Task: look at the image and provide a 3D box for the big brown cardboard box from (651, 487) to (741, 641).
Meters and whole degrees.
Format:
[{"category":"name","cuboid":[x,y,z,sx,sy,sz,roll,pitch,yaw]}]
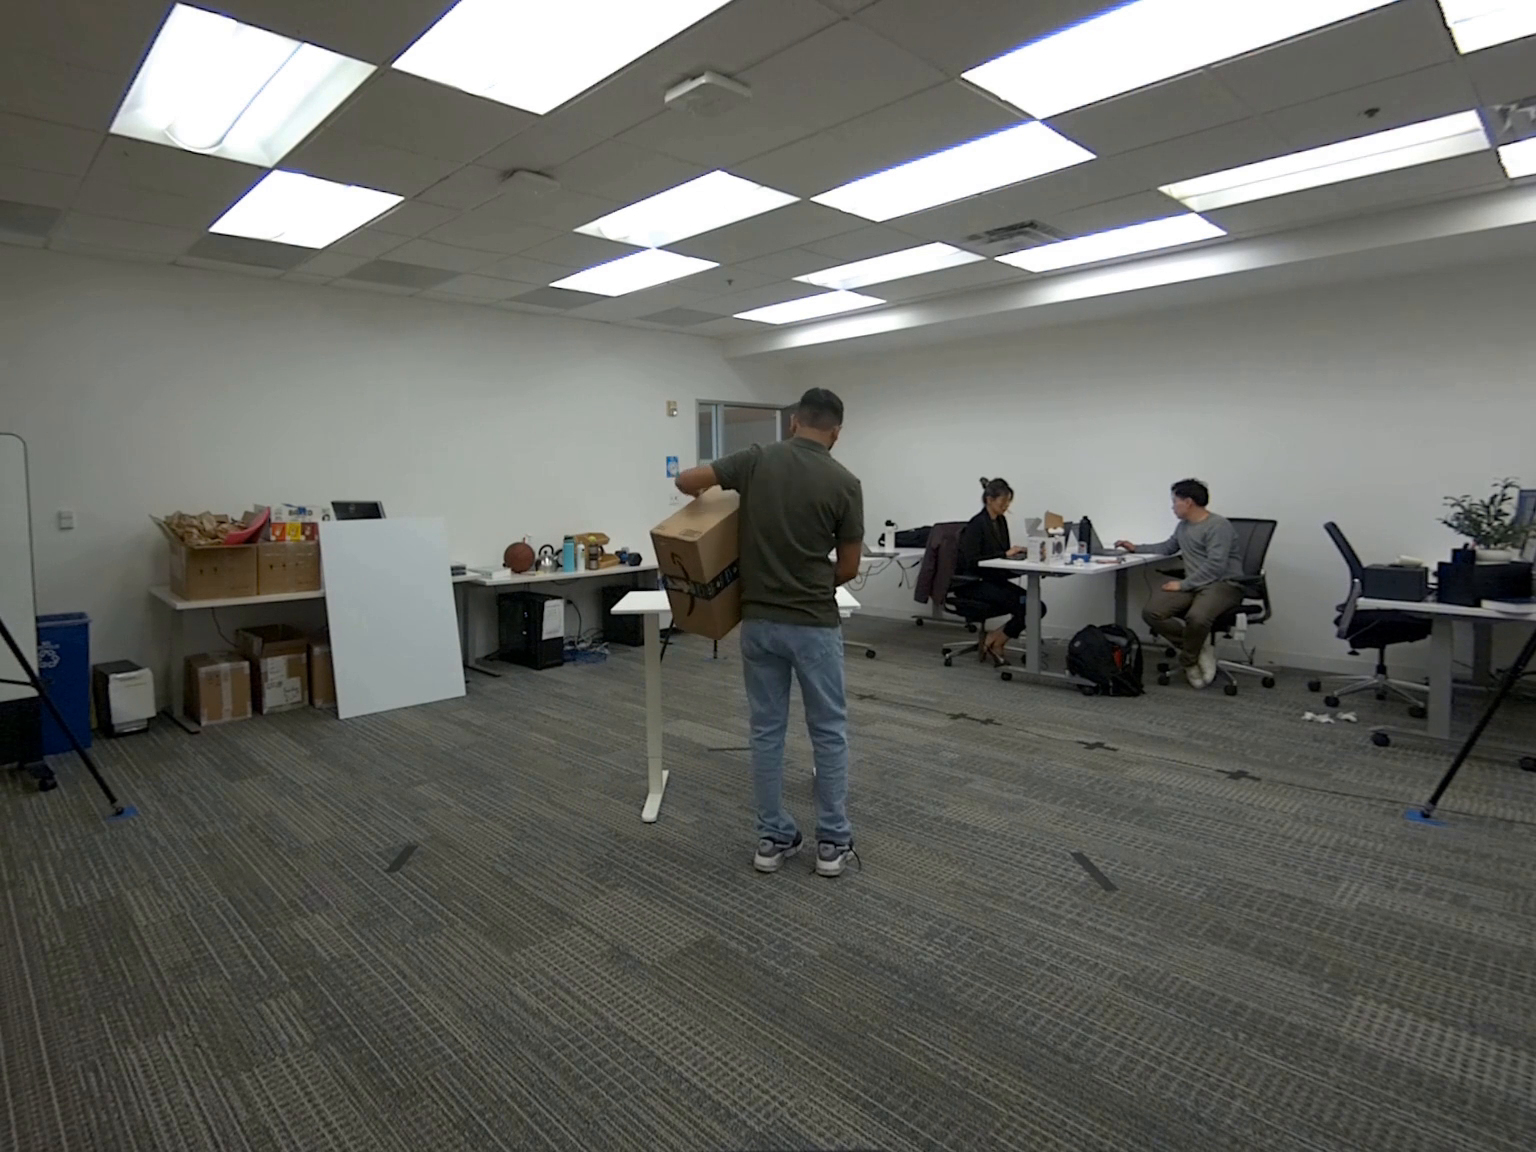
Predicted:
[{"category":"big brown cardboard box","cuboid":[-0.135,-0.104,3.189,0.241,0.407,0.585,10,35,36]}]
